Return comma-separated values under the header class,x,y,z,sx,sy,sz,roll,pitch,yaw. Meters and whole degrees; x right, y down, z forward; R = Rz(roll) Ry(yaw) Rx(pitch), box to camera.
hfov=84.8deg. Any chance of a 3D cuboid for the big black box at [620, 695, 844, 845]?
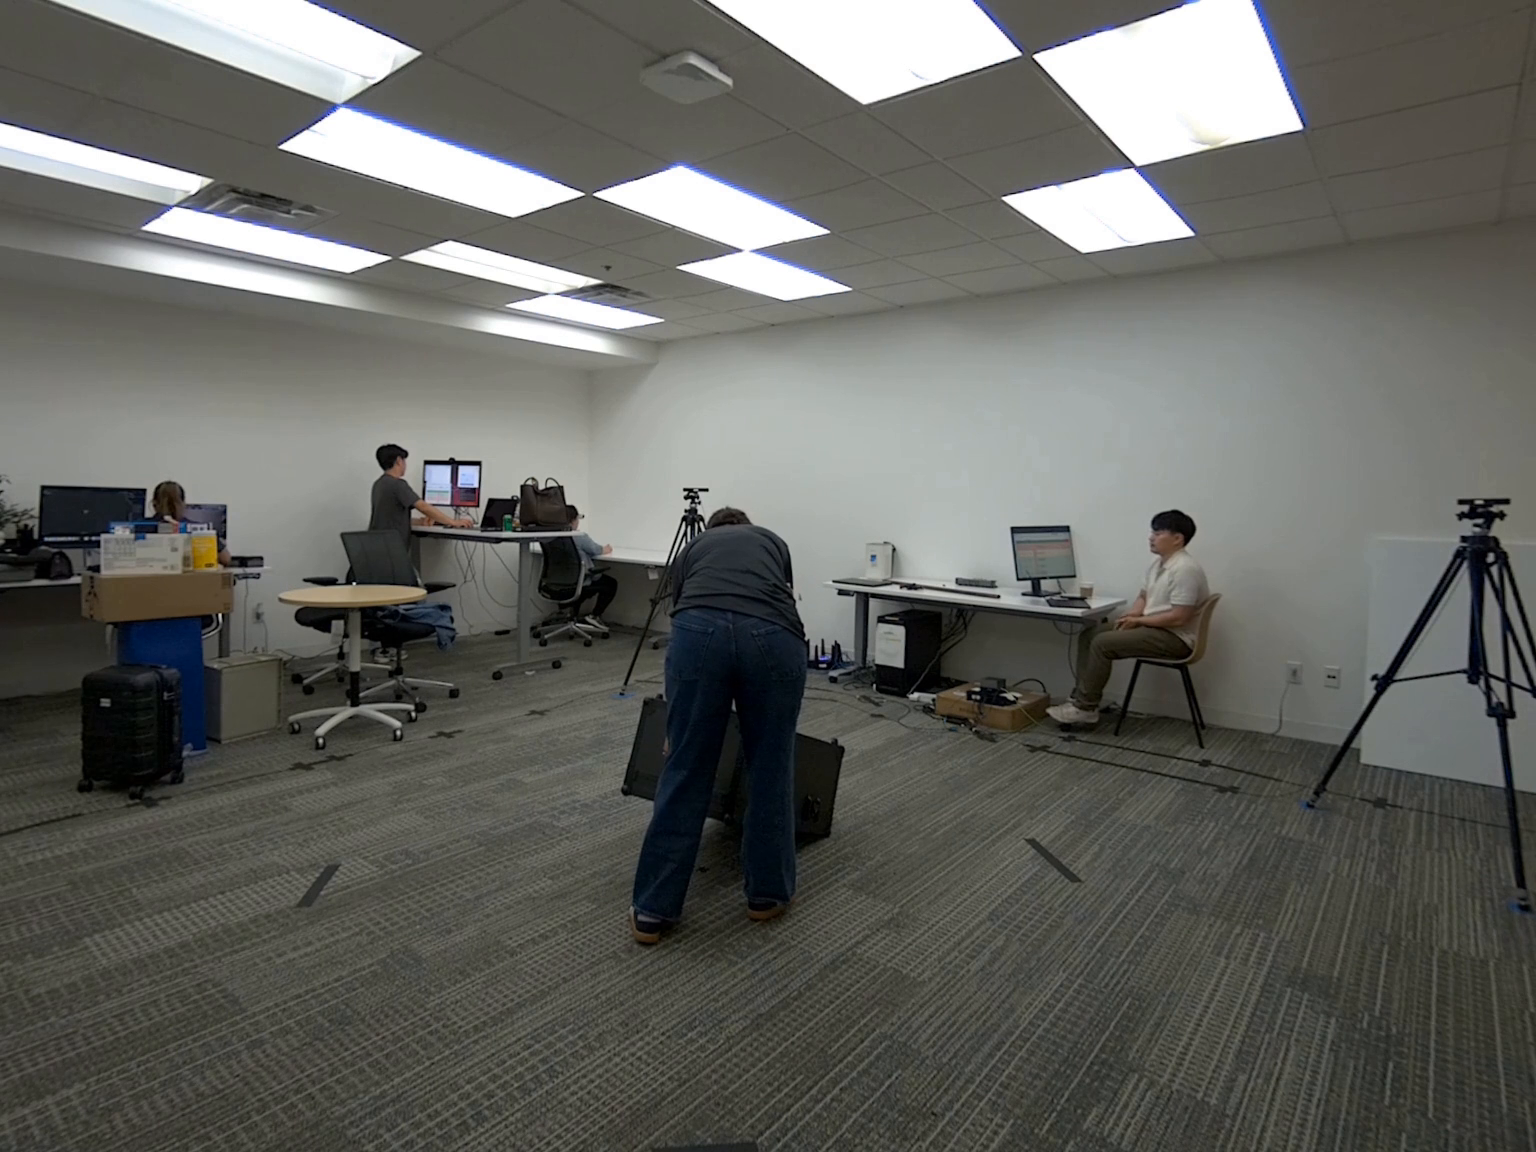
class,x,y,z,sx,sy,sz,roll,pitch,yaw
big black box,-0.104,0.756,3.342,0.539,0.389,0.833,2,-17,33
